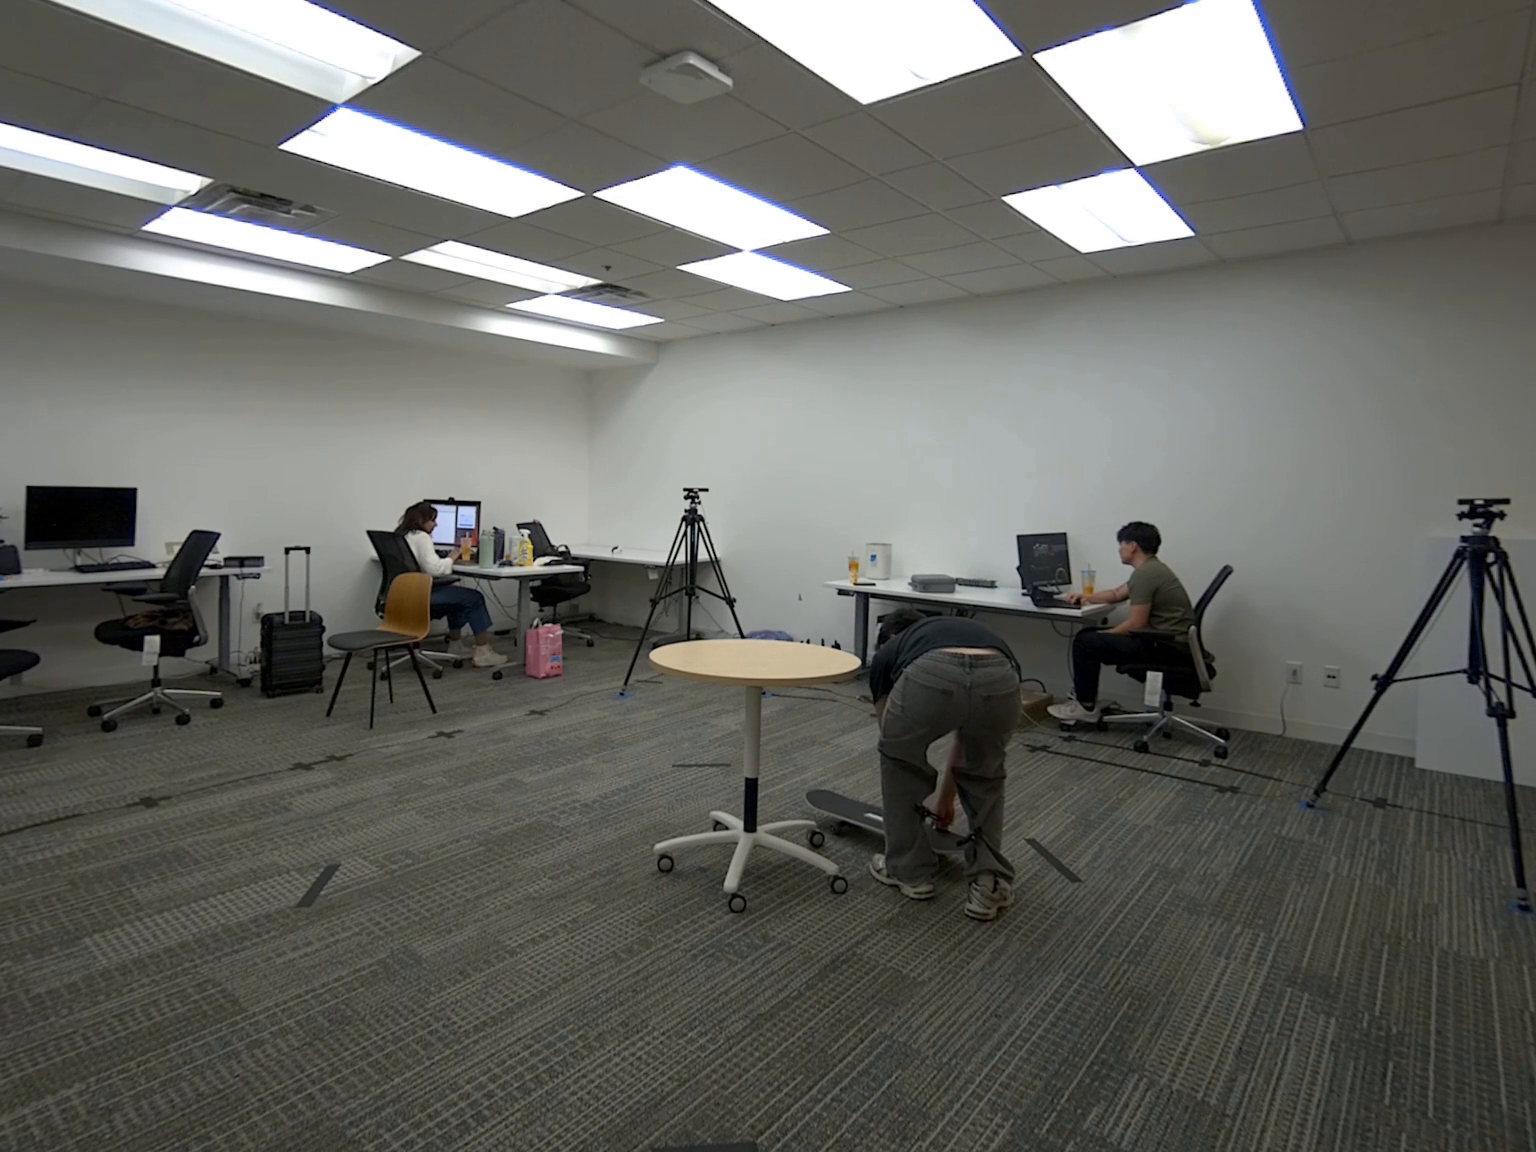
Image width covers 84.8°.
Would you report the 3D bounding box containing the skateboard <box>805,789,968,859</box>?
[{"bbox_3d":[0.462,1.001,3.370,0.813,0.110,0.188,6,8,44],"label":"skateboard"}]
